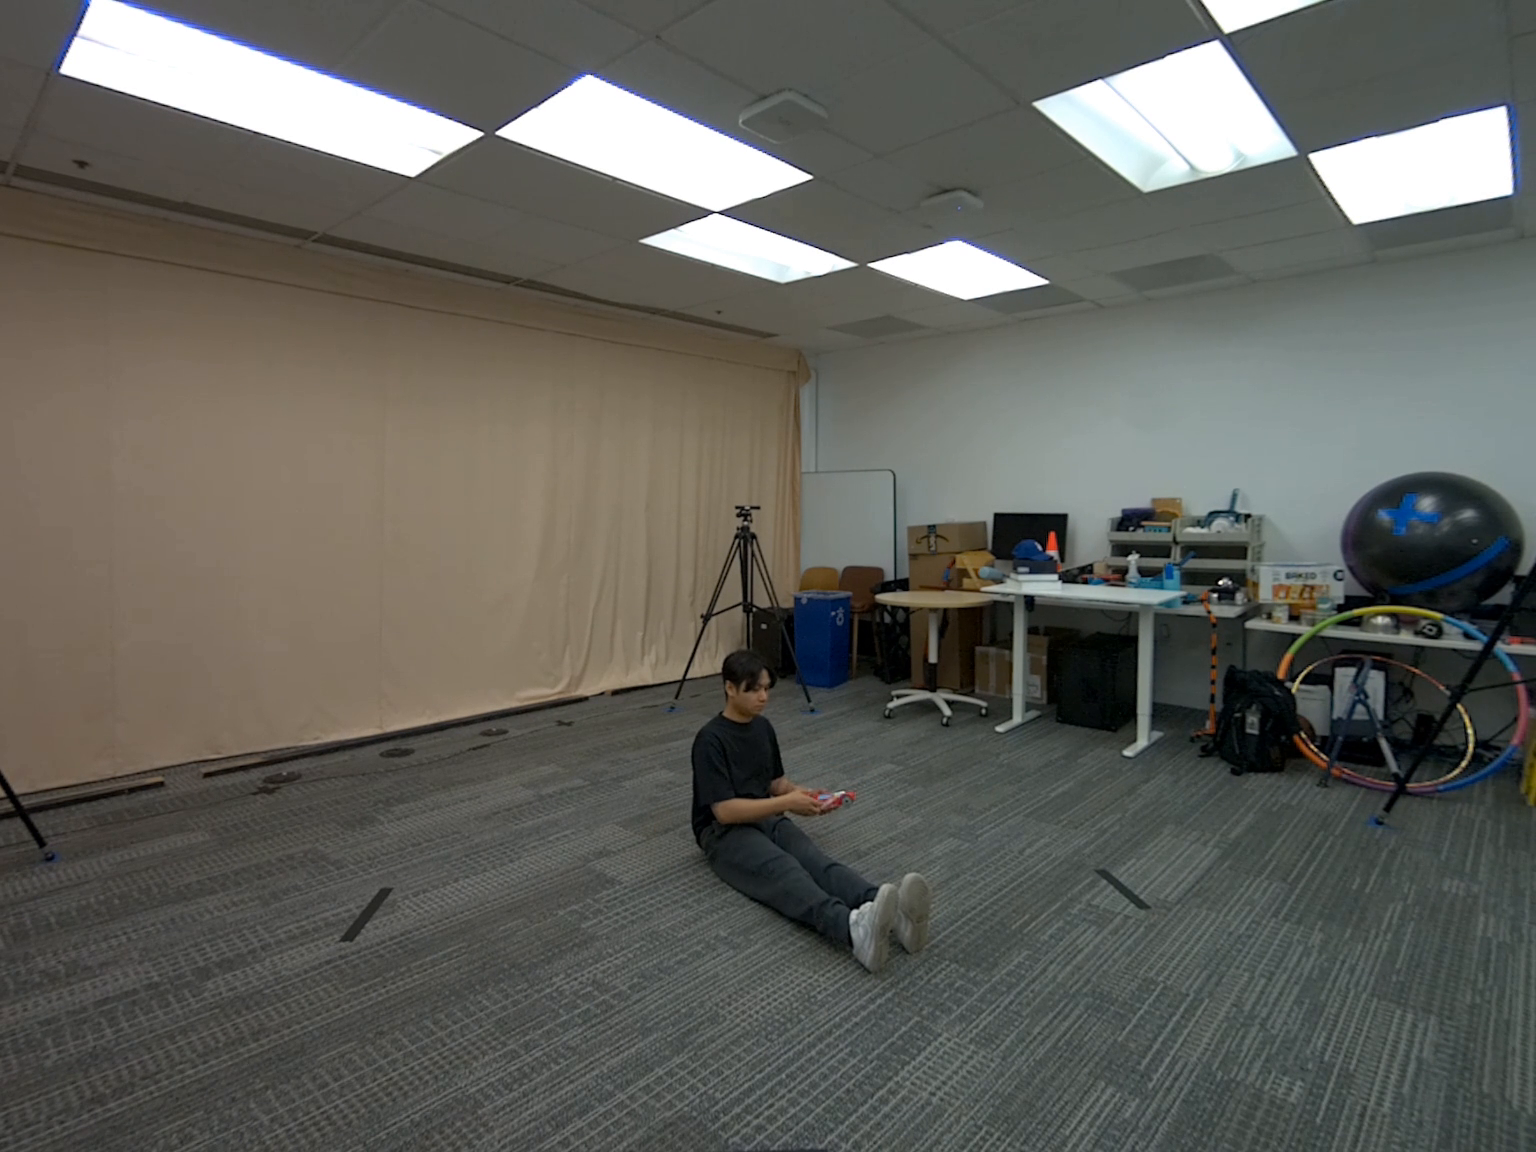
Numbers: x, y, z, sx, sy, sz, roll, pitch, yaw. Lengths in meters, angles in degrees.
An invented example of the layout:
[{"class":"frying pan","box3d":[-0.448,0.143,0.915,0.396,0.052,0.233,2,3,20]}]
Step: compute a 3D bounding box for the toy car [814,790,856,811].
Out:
[{"class":"toy car","box3d":[0.206,0.909,3.354,0.256,0.084,0.128,-6,-12,6]}]
